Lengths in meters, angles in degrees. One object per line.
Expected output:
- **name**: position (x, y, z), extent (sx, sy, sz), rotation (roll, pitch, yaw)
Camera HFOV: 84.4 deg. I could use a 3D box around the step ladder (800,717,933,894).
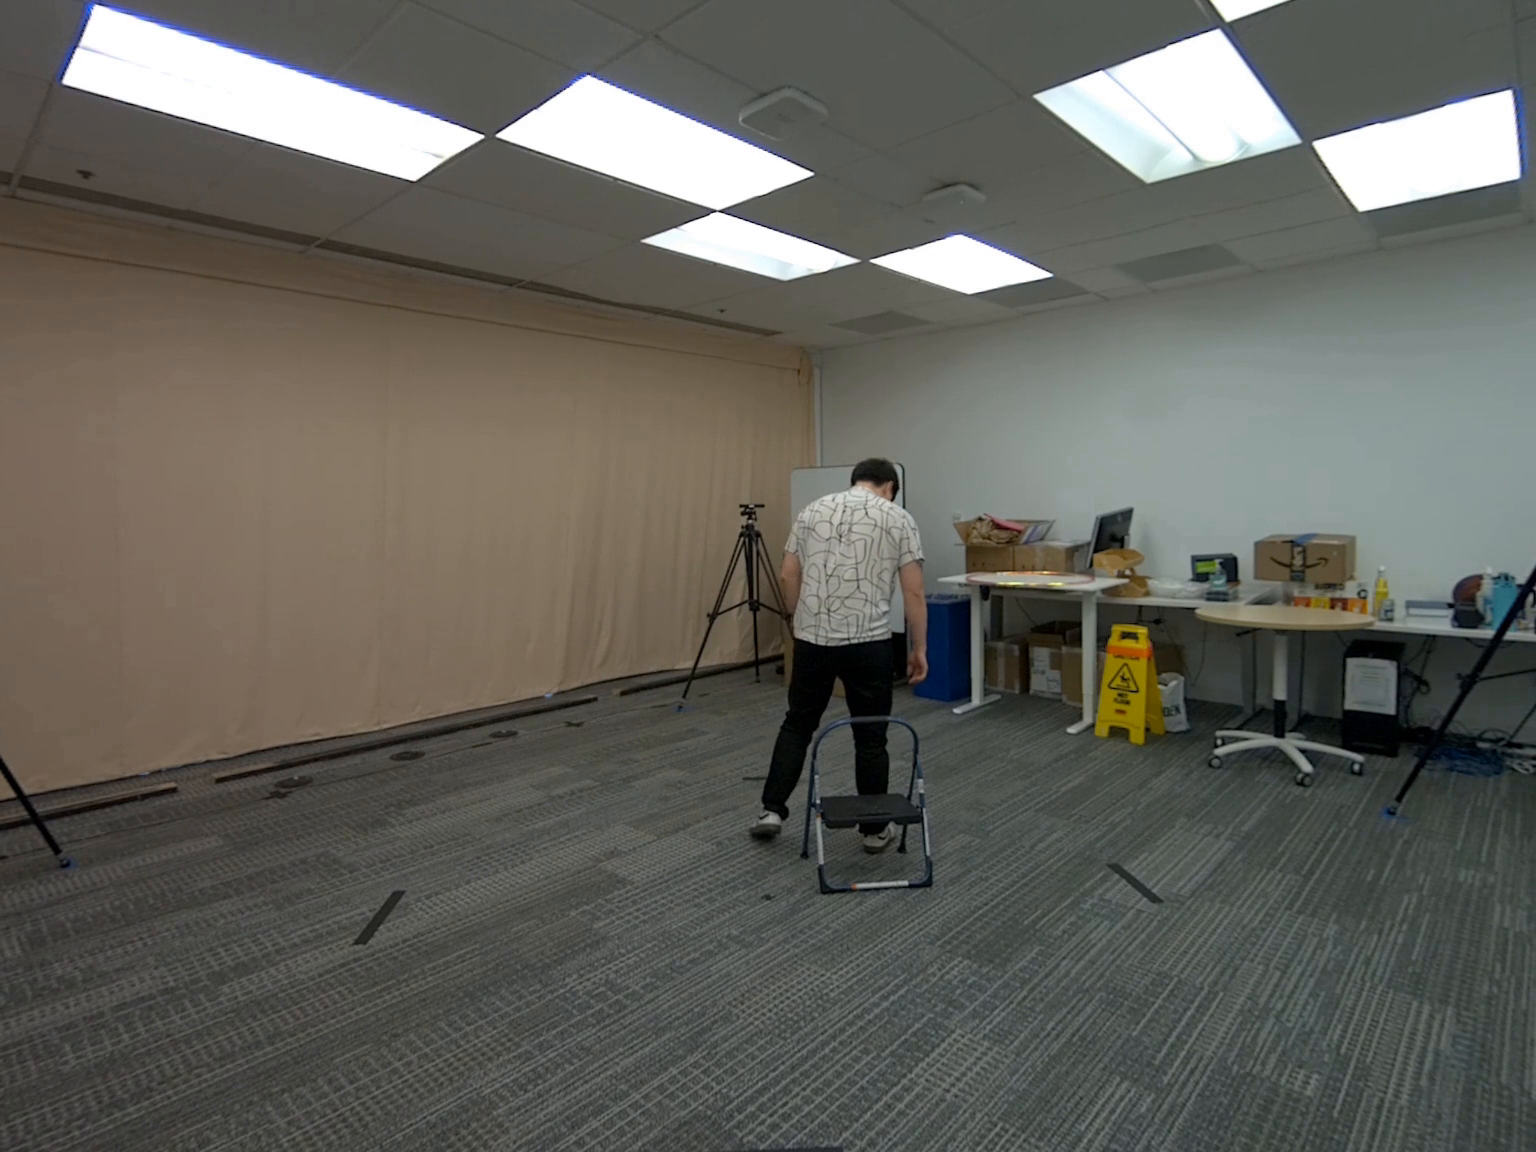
- **step ladder**: position (0.364, 0.818, 3.164), extent (0.427, 0.605, 0.353), rotation (-2, 3, -8)
